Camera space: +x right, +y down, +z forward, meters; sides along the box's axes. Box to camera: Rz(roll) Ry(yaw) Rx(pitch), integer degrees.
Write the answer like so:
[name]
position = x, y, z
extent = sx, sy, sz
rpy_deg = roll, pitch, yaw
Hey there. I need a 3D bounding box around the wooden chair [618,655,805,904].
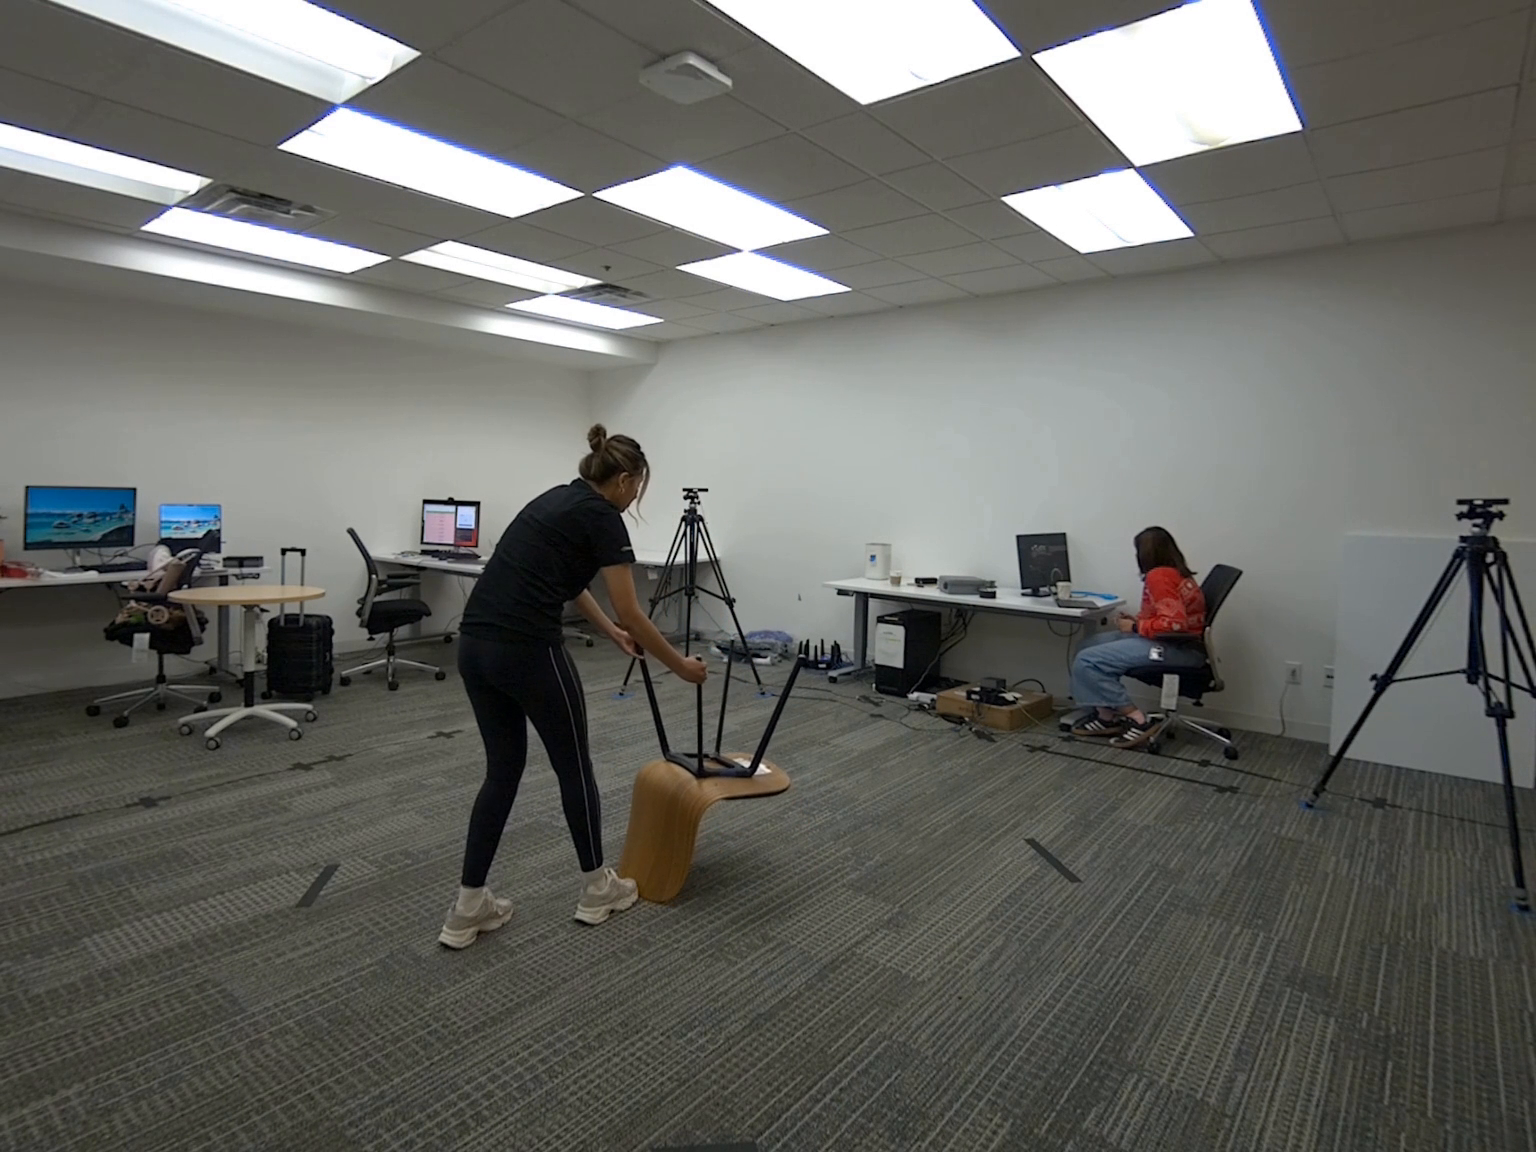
[wooden chair]
position = -0.223, 0.688, 3.099
extent = 0.505, 0.879, 0.493
rpy_deg = 10, -3, -36
